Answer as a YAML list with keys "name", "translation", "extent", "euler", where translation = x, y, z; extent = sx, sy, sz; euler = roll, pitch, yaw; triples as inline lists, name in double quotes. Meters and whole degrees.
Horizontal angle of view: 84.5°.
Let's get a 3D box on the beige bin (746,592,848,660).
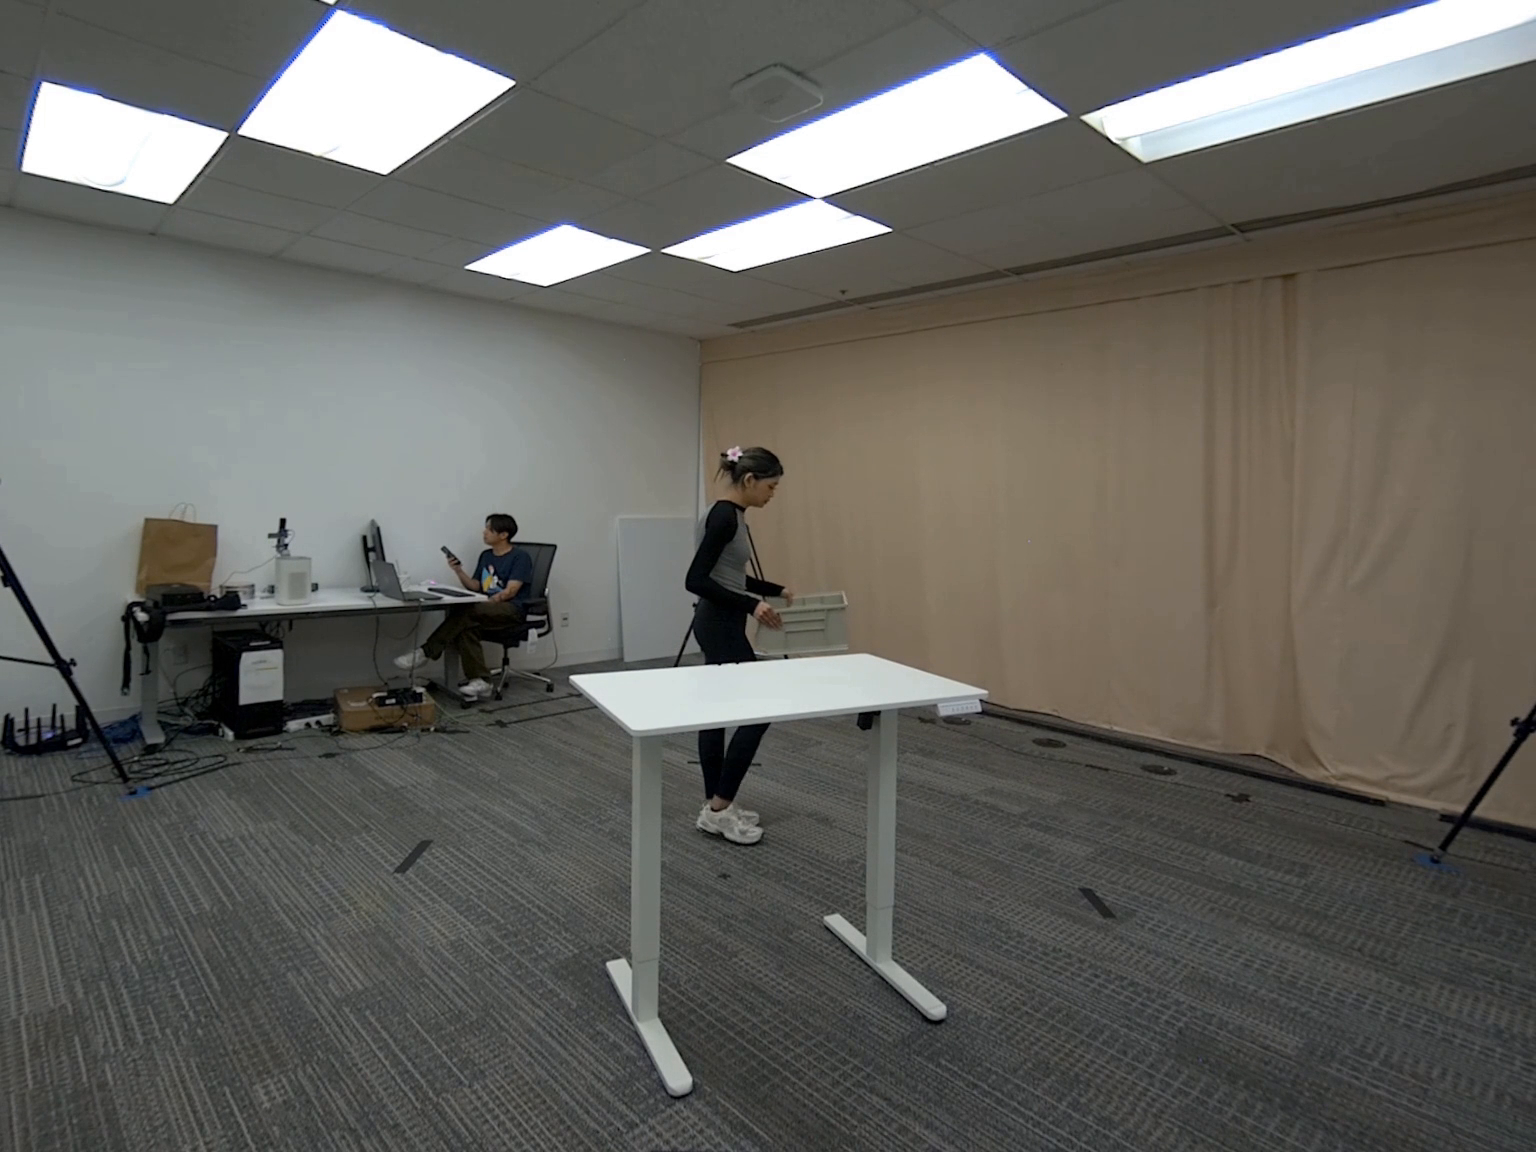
- name: "beige bin"
  translation: [0.147, 0.196, 3.477]
  extent: [0.380, 0.188, 0.421]
  euler: [-5, 5, 8]
